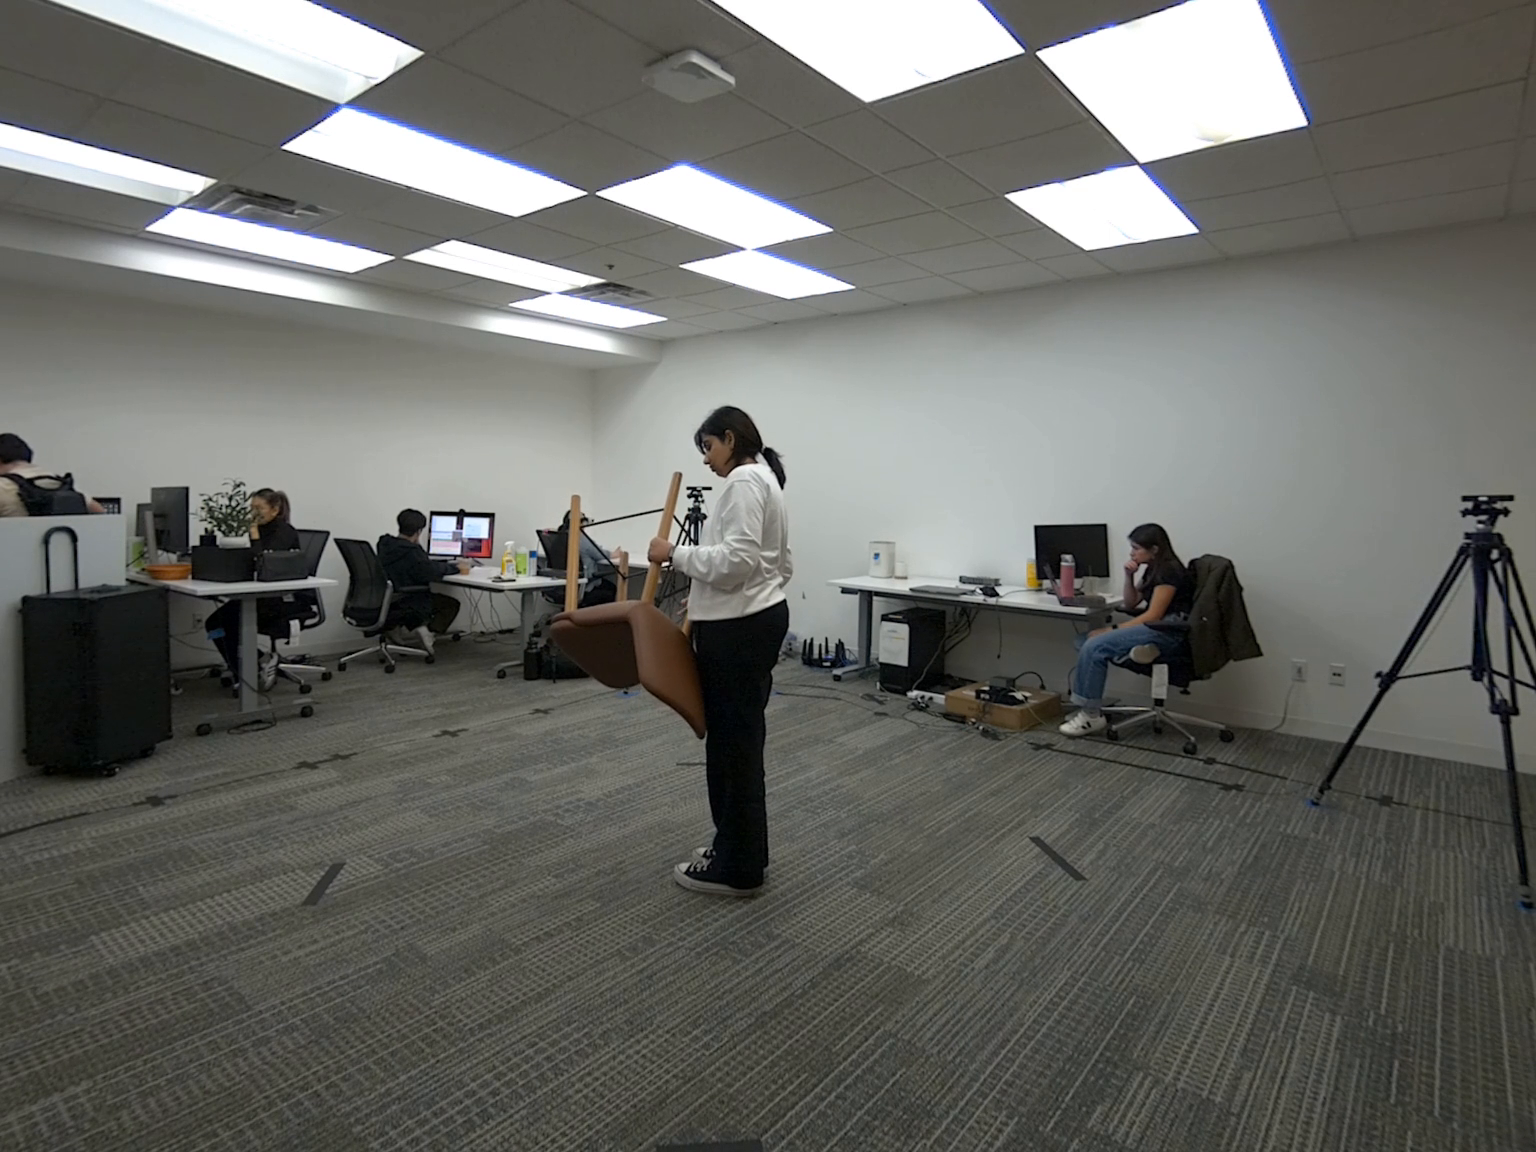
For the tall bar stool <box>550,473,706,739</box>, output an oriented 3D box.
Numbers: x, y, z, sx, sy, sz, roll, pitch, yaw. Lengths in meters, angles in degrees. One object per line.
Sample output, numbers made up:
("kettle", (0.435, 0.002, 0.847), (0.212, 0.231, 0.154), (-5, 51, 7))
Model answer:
("tall bar stool", (-0.466, 0.128, 2.979), (0.474, 0.914, 0.438), (-14, -39, 18))
